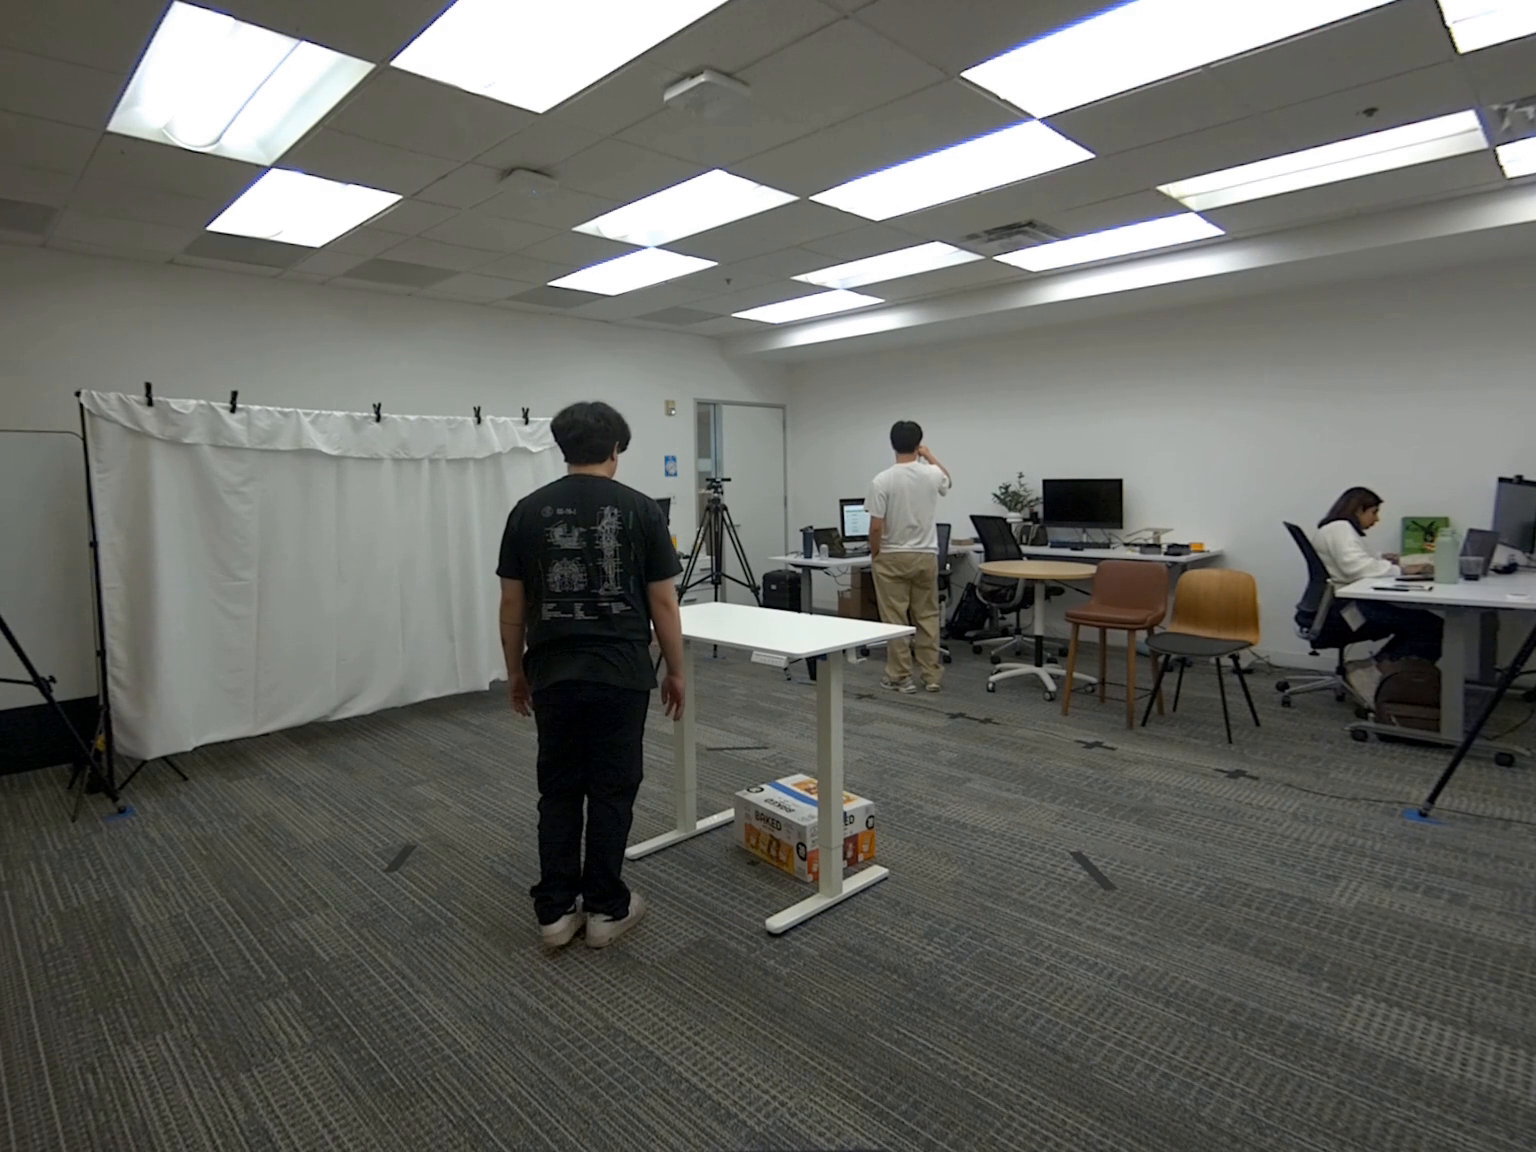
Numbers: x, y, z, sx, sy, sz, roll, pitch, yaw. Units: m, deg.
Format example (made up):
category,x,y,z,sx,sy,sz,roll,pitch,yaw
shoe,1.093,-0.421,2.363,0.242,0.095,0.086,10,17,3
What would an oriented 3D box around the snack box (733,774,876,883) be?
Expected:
category,x,y,z,sx,sy,sz,roll,pitch,yaw
snack box,0.133,0.930,3.190,0.331,0.205,0.417,-5,7,-39
